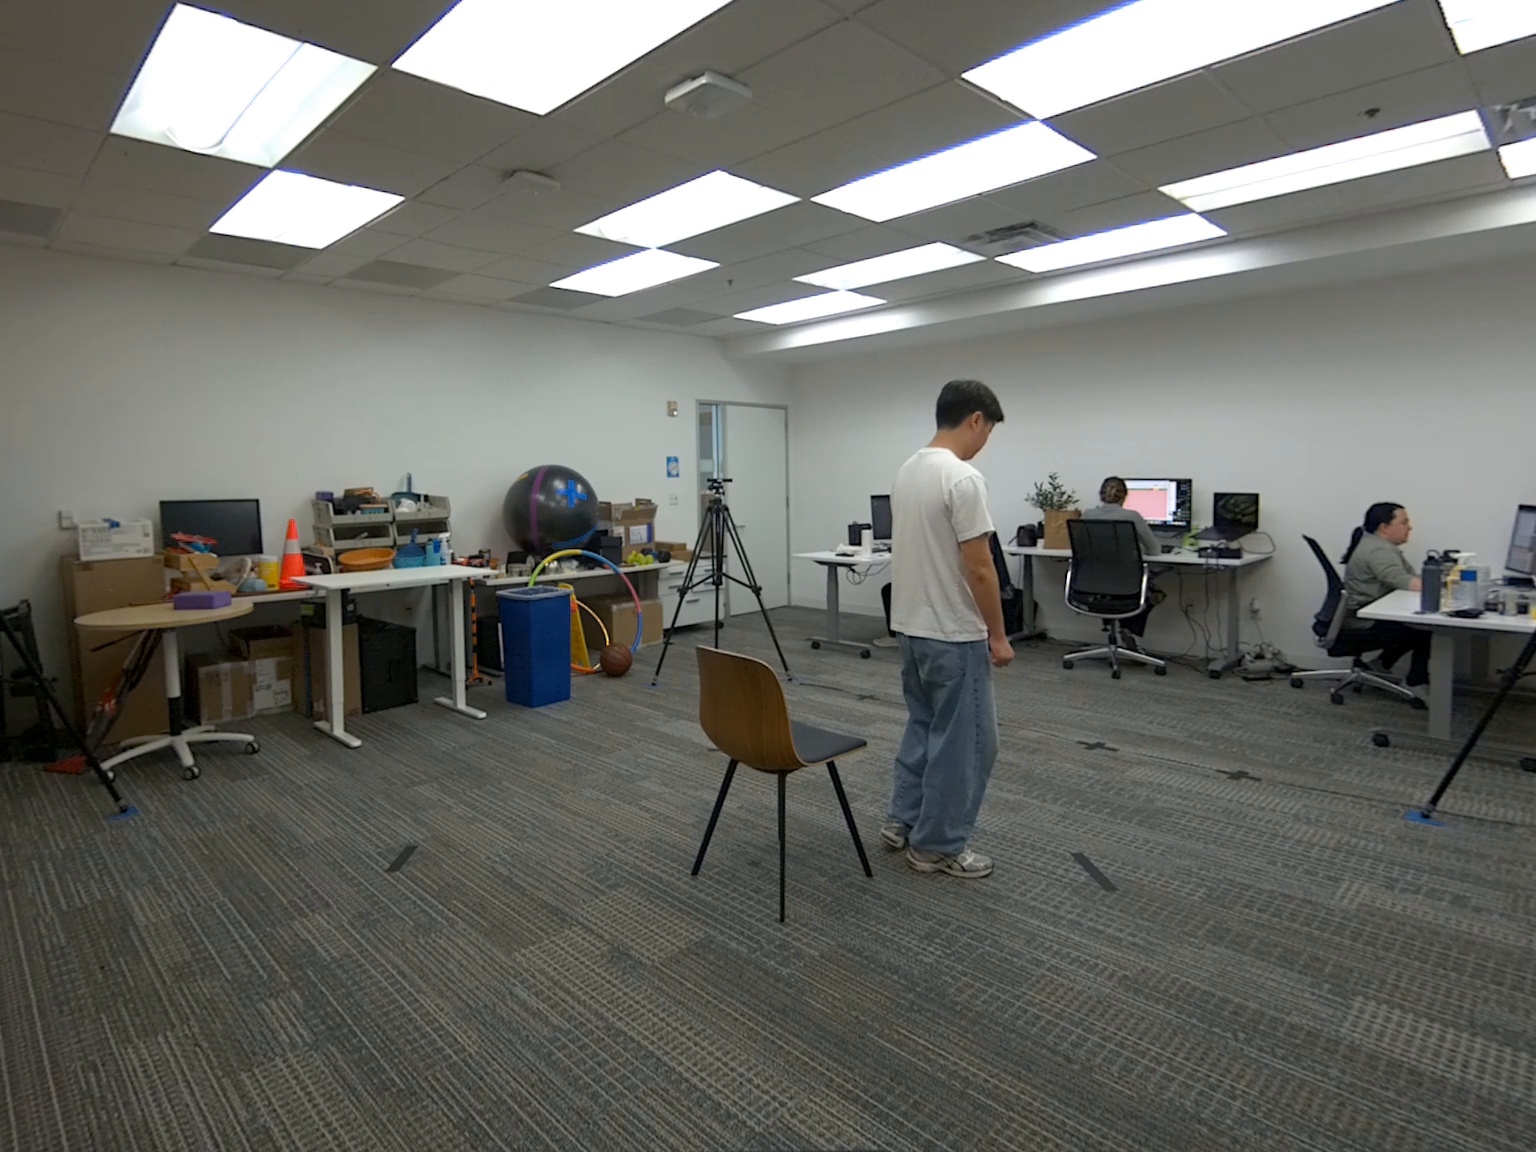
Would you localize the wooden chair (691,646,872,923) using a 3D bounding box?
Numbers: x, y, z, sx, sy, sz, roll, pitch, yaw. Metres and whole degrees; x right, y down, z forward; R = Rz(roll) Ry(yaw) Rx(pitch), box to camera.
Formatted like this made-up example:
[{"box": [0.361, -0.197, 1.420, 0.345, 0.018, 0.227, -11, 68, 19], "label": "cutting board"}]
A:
[{"box": [0.052, 0.631, 2.970, 0.511, 0.871, 0.493, -11, 10, -43], "label": "wooden chair"}]
